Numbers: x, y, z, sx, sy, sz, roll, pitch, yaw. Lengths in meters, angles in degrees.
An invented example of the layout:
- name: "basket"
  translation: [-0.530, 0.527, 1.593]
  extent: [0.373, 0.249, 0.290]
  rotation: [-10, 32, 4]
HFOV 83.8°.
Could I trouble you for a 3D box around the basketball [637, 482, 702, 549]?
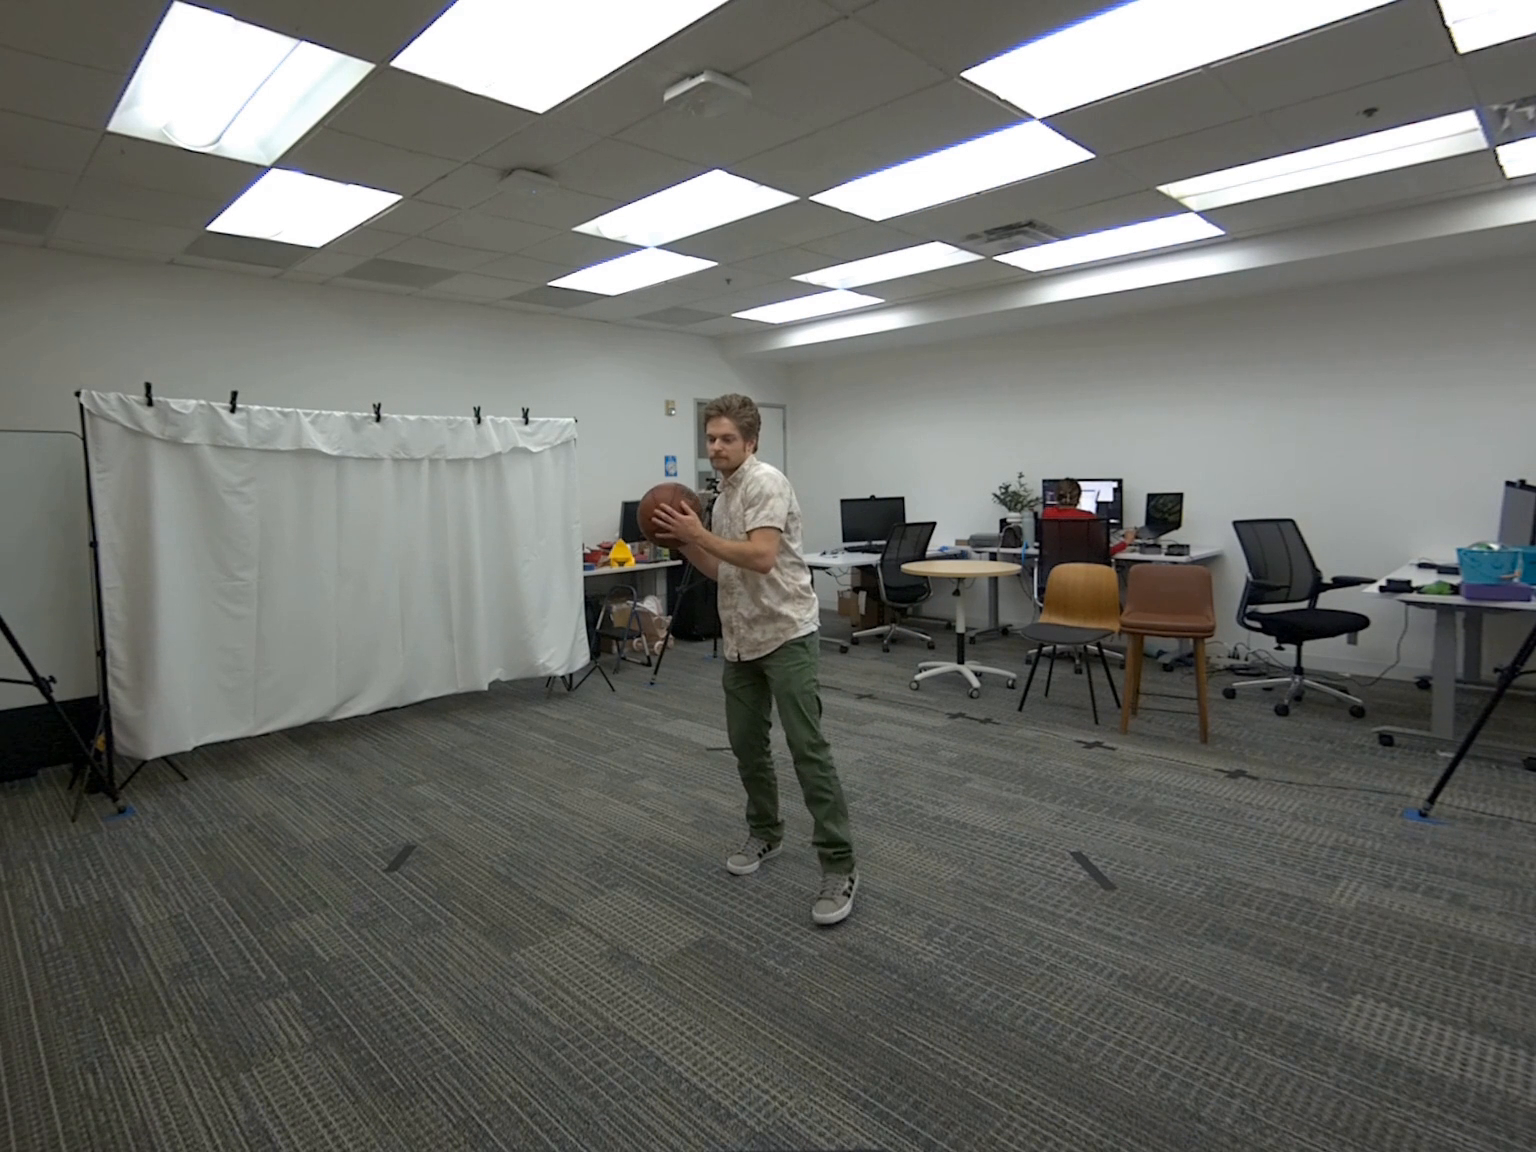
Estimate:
- name: "basketball"
  translation: [-0.348, -0.208, 3.048]
  extent: [0.236, 0.235, 0.237]
  rotation: [-1, 5, -2]
